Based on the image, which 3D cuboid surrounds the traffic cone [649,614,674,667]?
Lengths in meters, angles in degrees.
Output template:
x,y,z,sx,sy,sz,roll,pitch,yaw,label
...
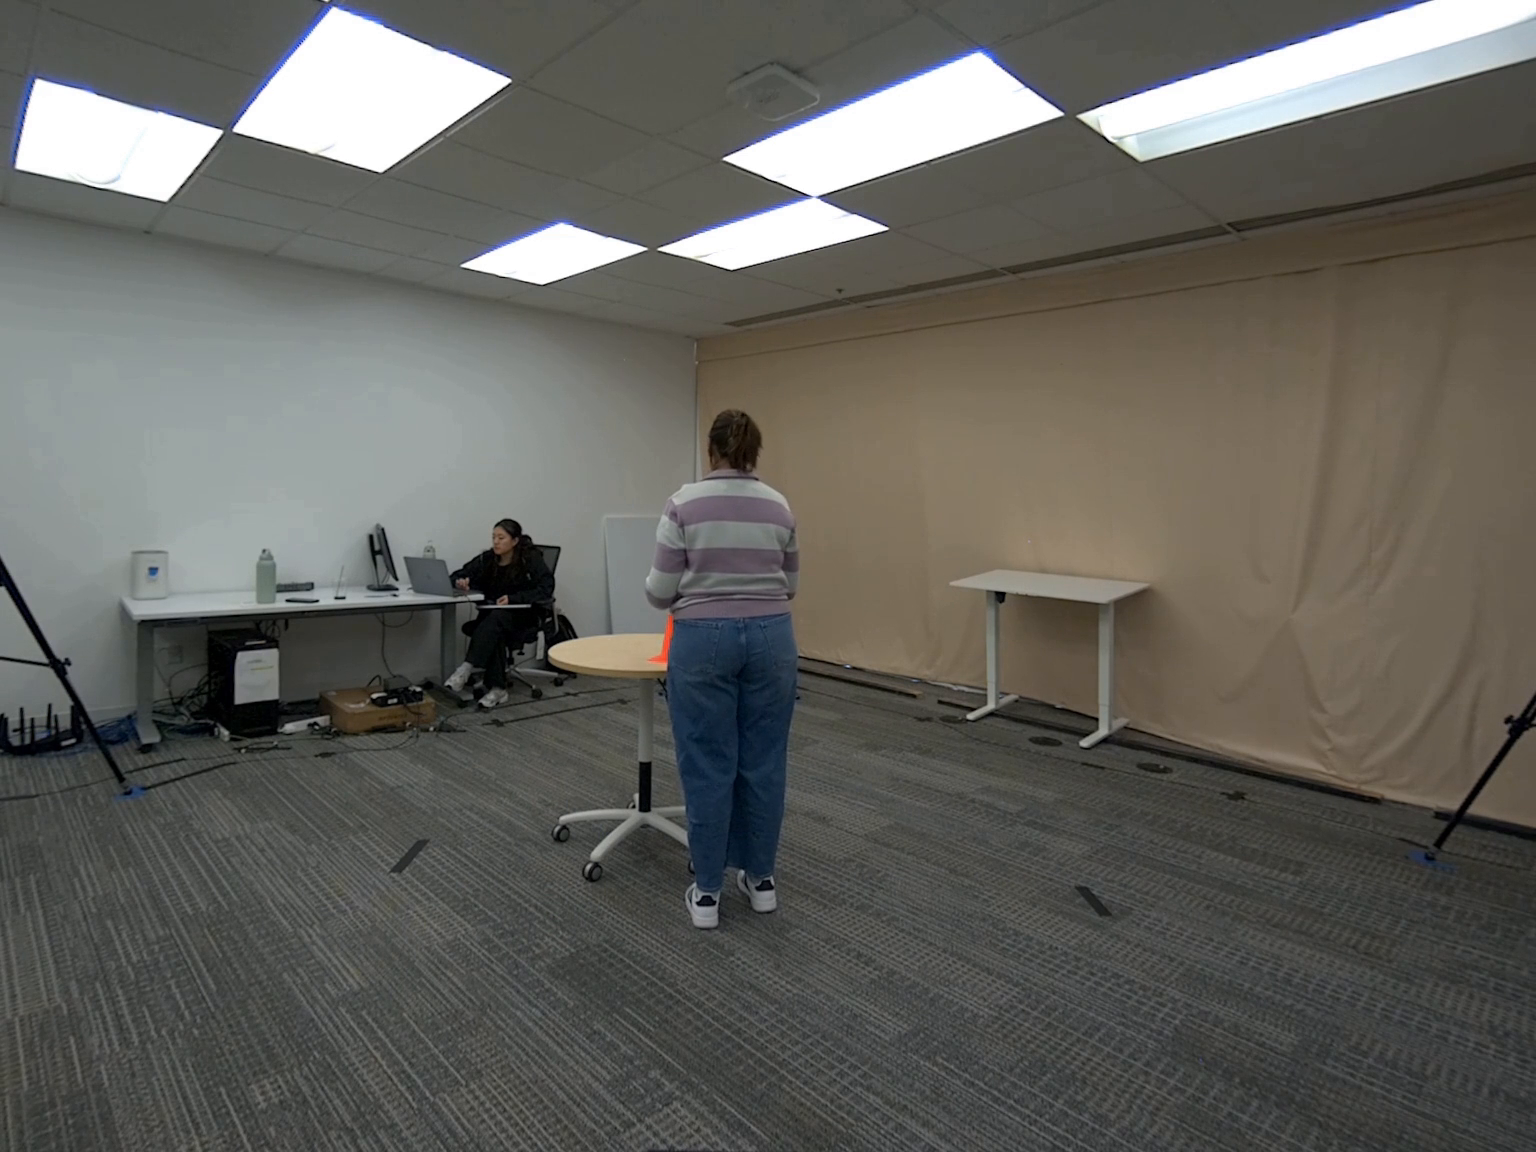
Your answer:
x,y,z,sx,sy,sz,roll,pitch,yaw,label
-0.324,0.128,3.144,0.206,0.382,0.203,4,5,15,traffic cone
